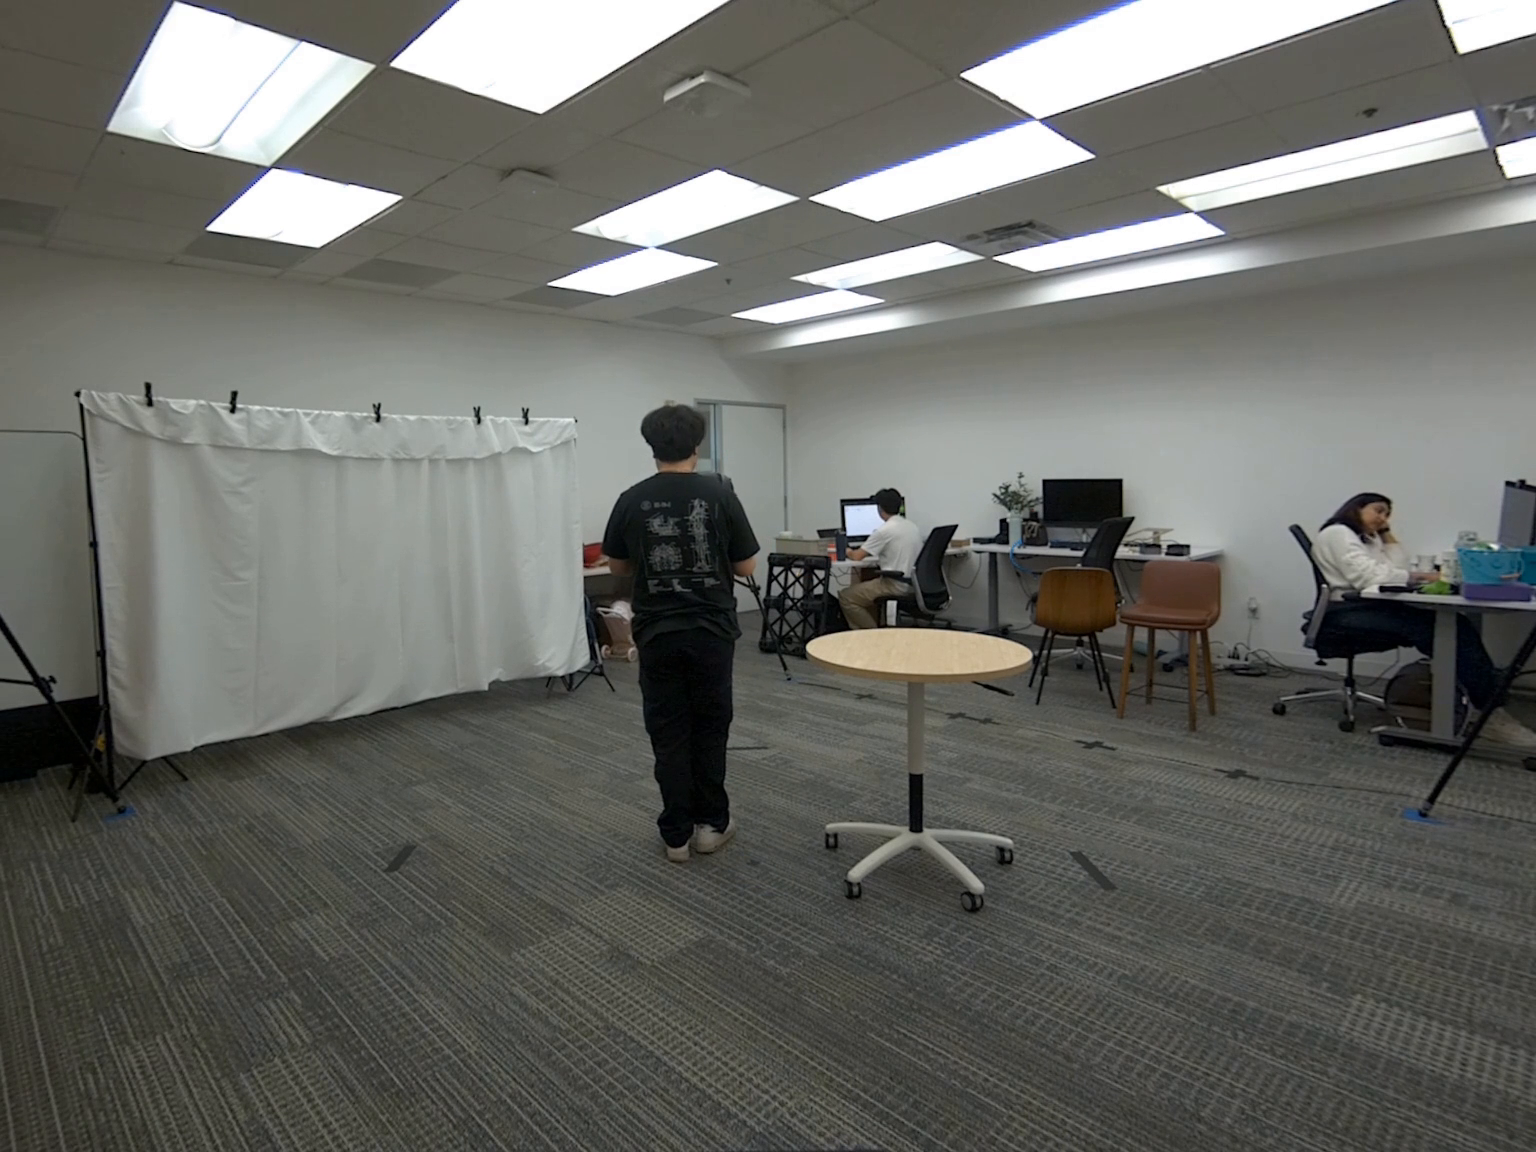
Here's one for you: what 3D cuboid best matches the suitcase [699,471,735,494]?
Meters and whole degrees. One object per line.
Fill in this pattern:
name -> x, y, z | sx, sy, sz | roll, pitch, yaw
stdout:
suitcase -> -0.310, -0.146, 3.497 | 0.379, 0.552, 0.244 | 0, -6, 10
